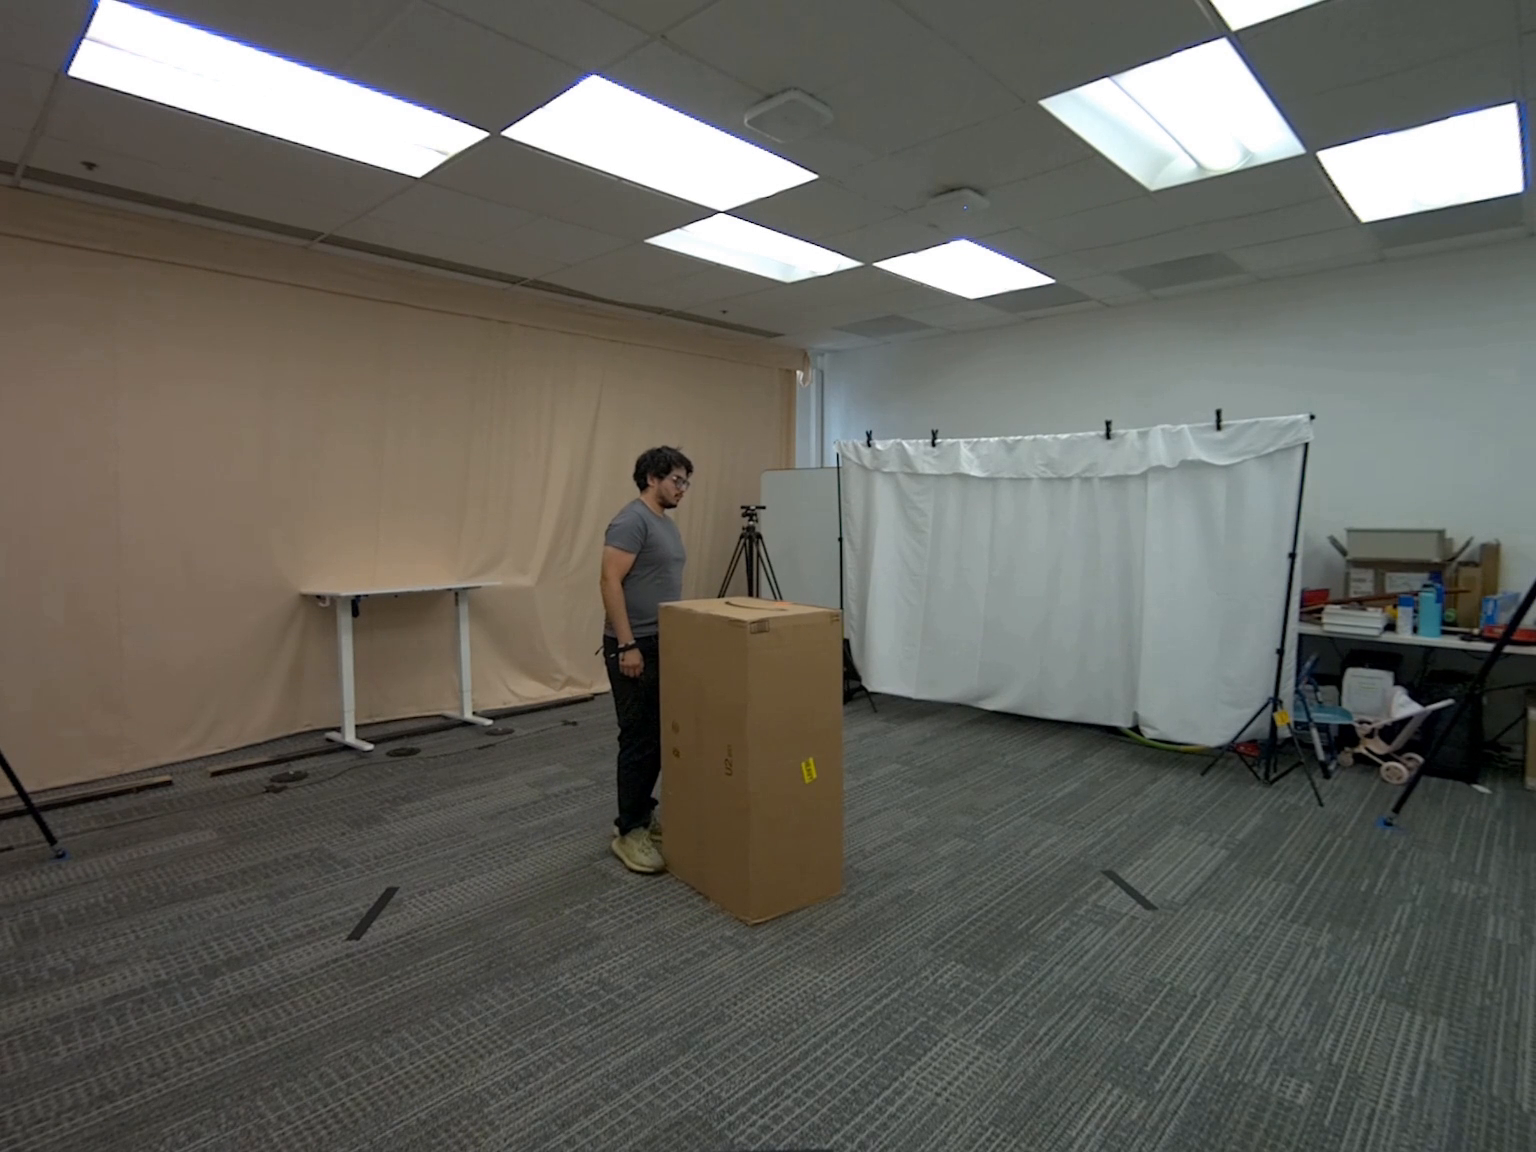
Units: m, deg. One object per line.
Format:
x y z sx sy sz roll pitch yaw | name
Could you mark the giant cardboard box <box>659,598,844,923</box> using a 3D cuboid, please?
-0.066 0.626 3.111 0.433 1.025 0.603 -3 4 -38 | giant cardboard box
